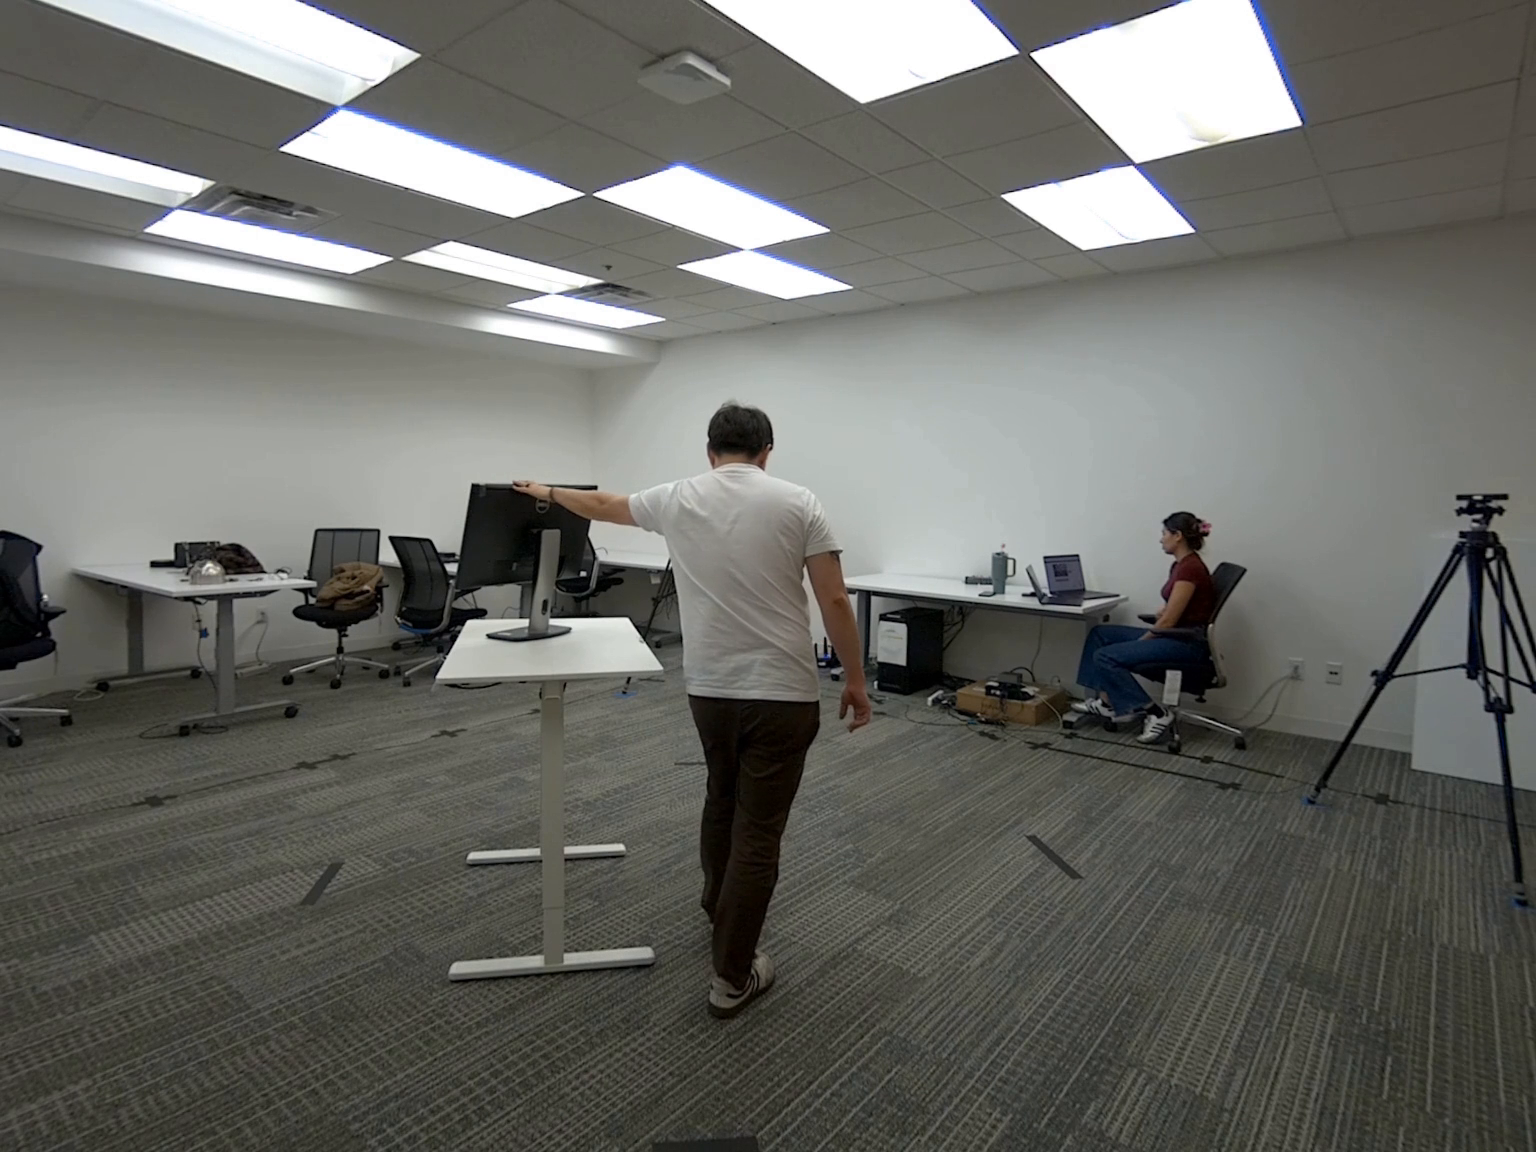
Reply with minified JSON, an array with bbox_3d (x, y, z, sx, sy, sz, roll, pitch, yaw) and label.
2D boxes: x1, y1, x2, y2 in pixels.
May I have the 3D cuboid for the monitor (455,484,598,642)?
[{"bbox_3d":[-0.806,-0.051,2.877,0.193,0.520,0.524,5,6,33],"label":"monitor"}]
